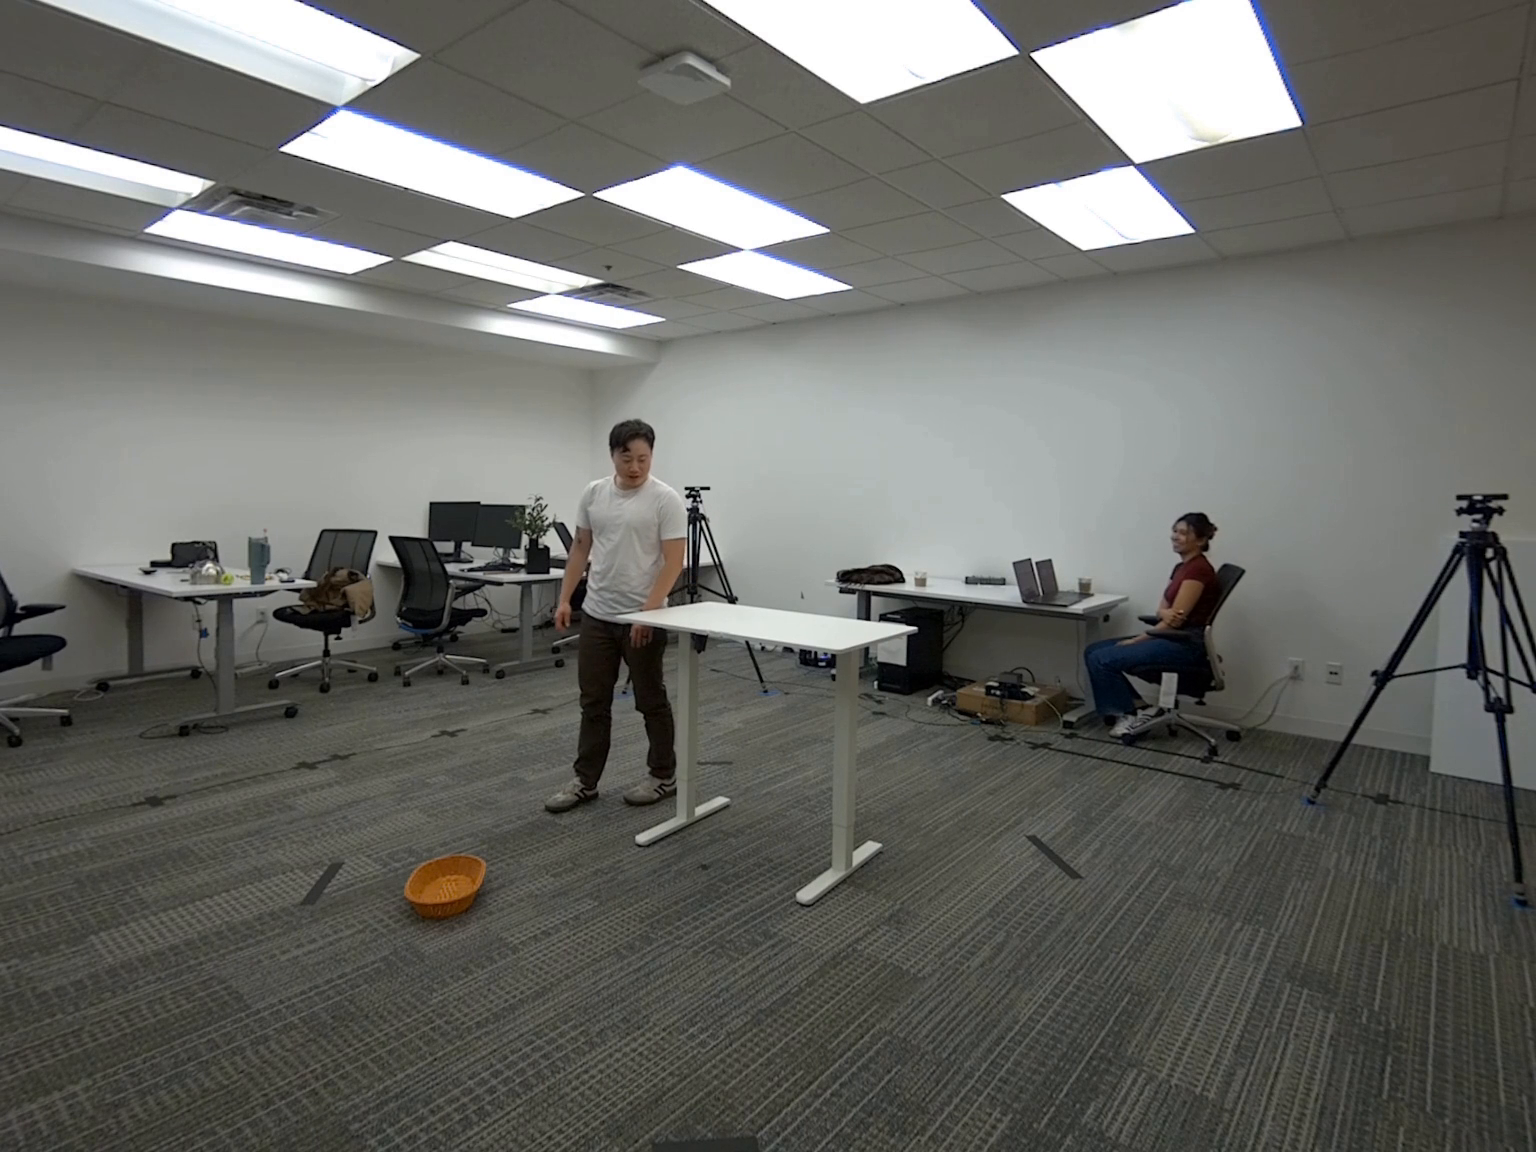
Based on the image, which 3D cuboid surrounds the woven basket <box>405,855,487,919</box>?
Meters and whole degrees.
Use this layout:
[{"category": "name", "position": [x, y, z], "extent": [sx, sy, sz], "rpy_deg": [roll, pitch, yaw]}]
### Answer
[{"category": "woven basket", "position": [-1.093, 1.045, 2.854], "extent": [0.251, 0.073, 0.353], "rpy_deg": [-1, 6, -4]}]
